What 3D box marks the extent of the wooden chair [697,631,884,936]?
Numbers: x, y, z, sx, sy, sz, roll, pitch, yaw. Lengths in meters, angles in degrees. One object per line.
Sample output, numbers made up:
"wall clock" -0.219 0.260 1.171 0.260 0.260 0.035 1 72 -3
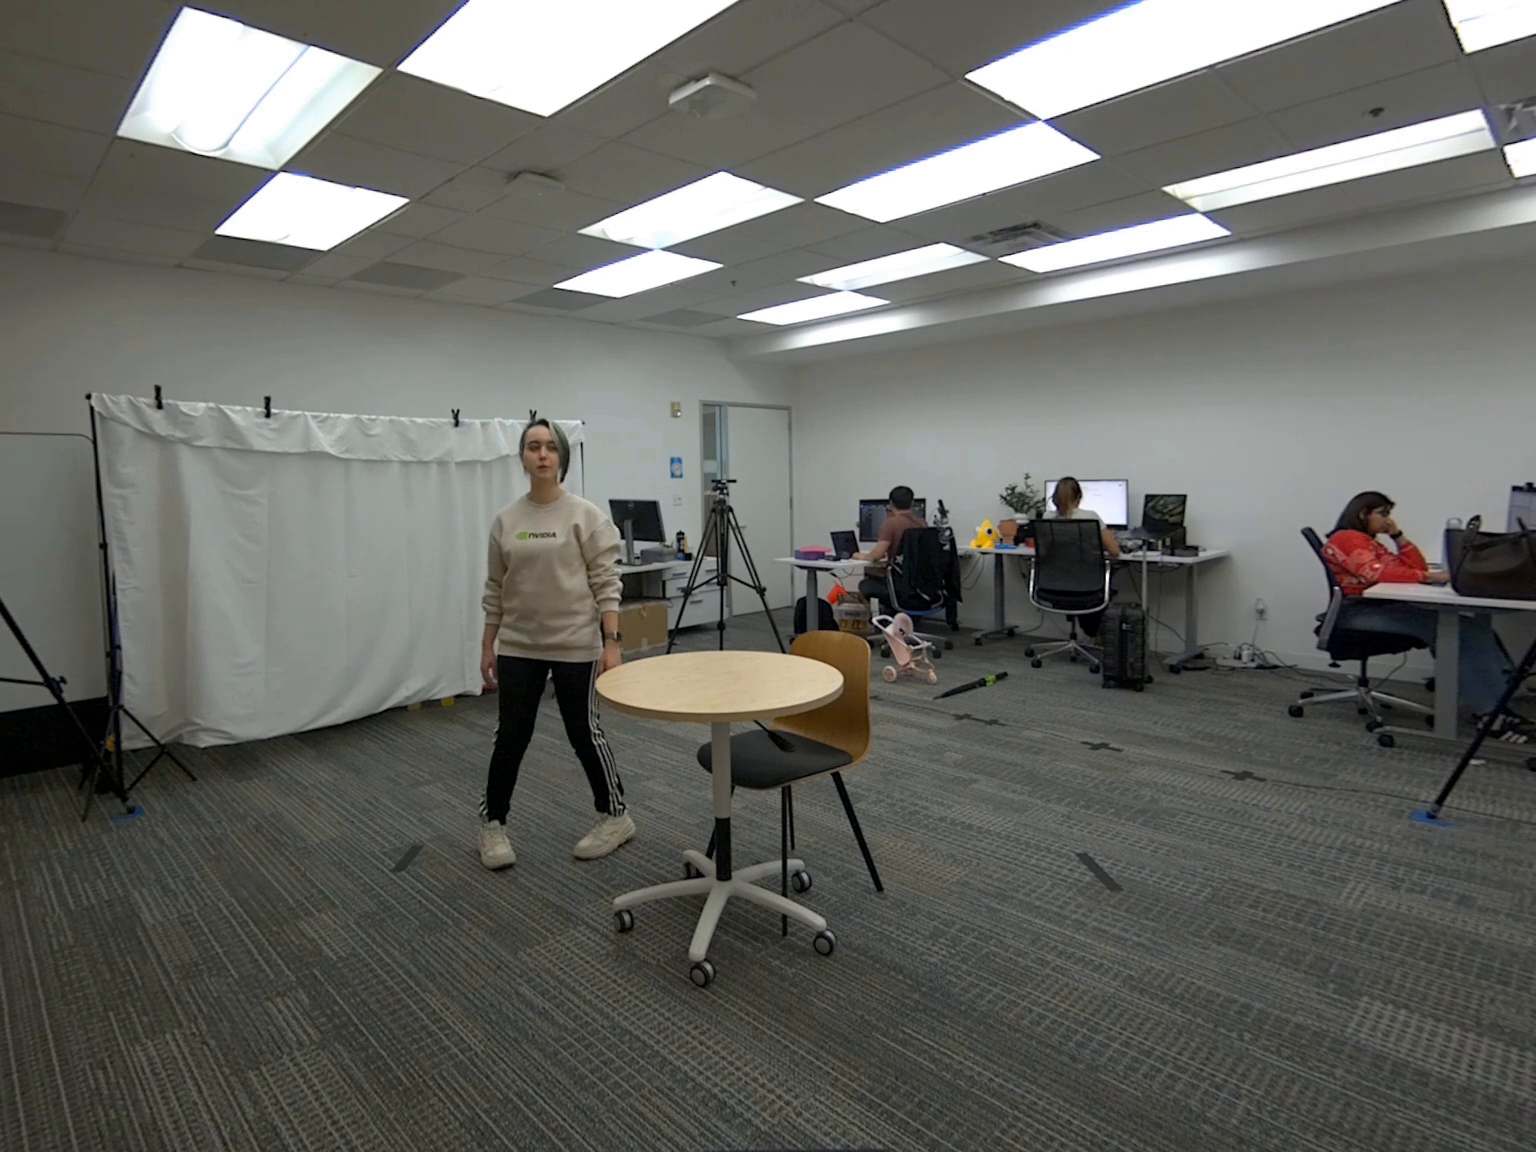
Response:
"wooden chair" 0.063 0.642 2.882 0.508 0.876 0.493 1 3 -40
